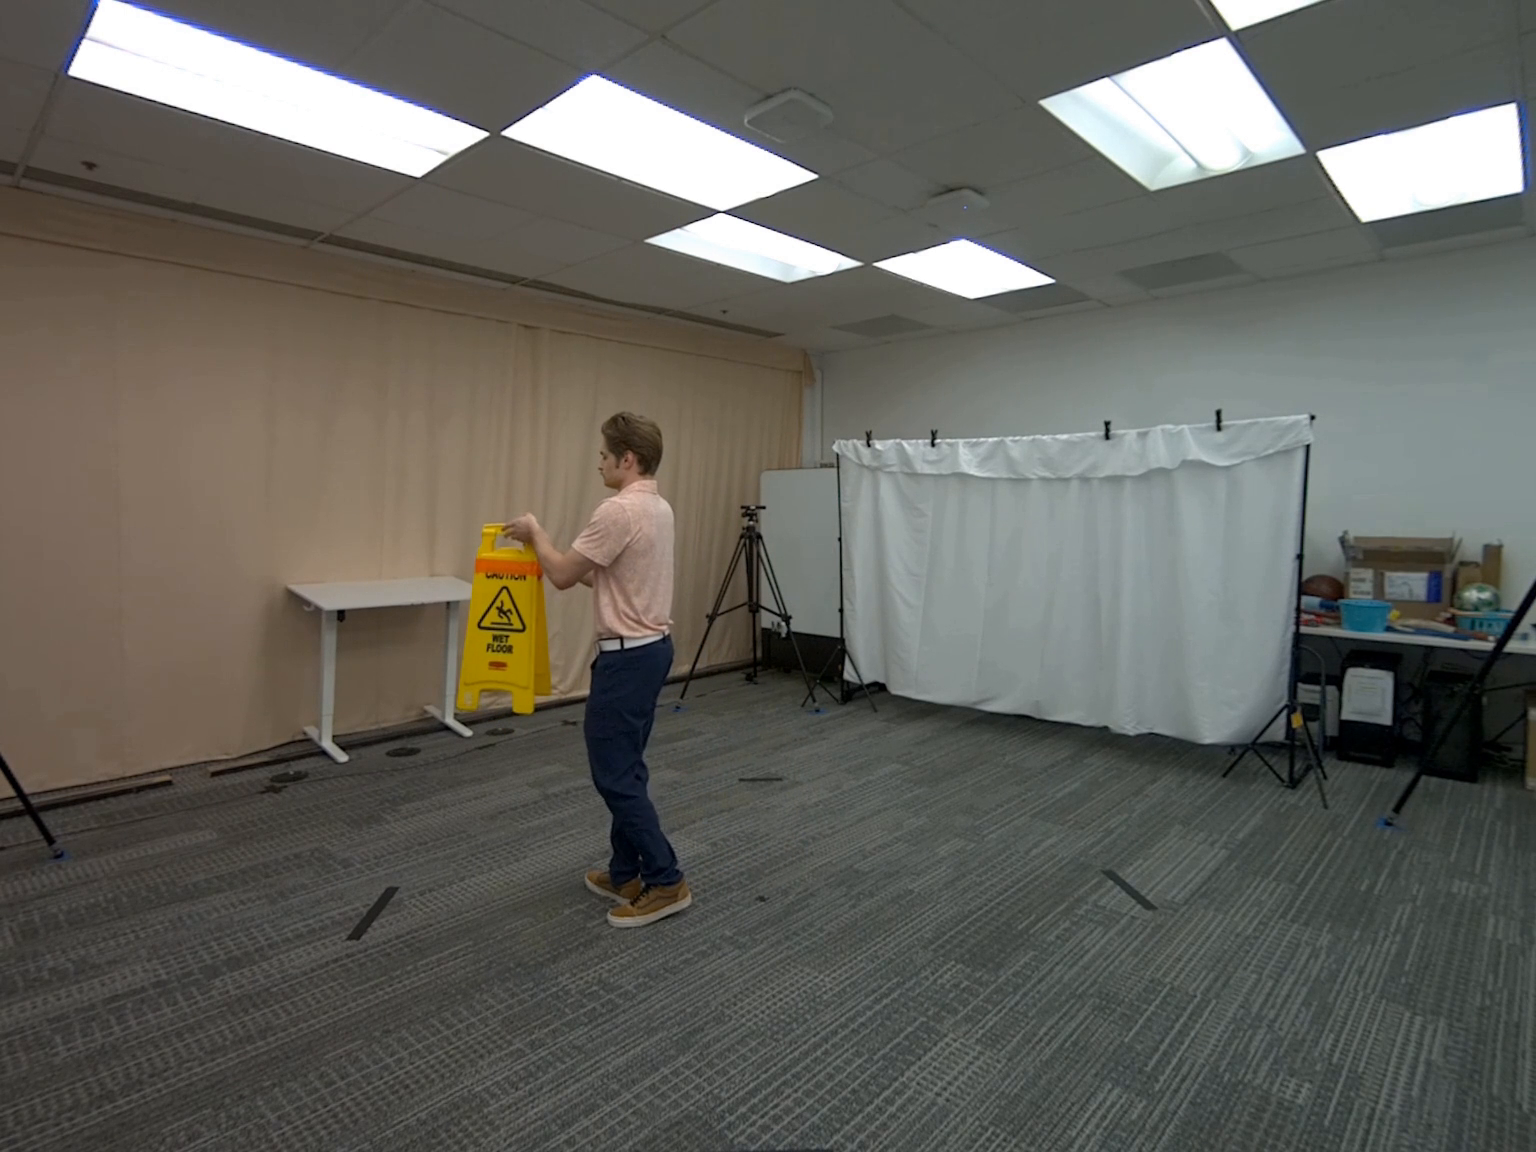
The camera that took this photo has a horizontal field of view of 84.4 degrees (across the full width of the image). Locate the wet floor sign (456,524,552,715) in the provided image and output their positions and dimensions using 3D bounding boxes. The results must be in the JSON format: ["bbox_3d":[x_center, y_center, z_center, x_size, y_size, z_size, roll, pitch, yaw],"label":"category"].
[{"bbox_3d":[-0.943,0.142,3.060,0.283,0.644,0.289,4,5,2],"label":"wet floor sign"}]
